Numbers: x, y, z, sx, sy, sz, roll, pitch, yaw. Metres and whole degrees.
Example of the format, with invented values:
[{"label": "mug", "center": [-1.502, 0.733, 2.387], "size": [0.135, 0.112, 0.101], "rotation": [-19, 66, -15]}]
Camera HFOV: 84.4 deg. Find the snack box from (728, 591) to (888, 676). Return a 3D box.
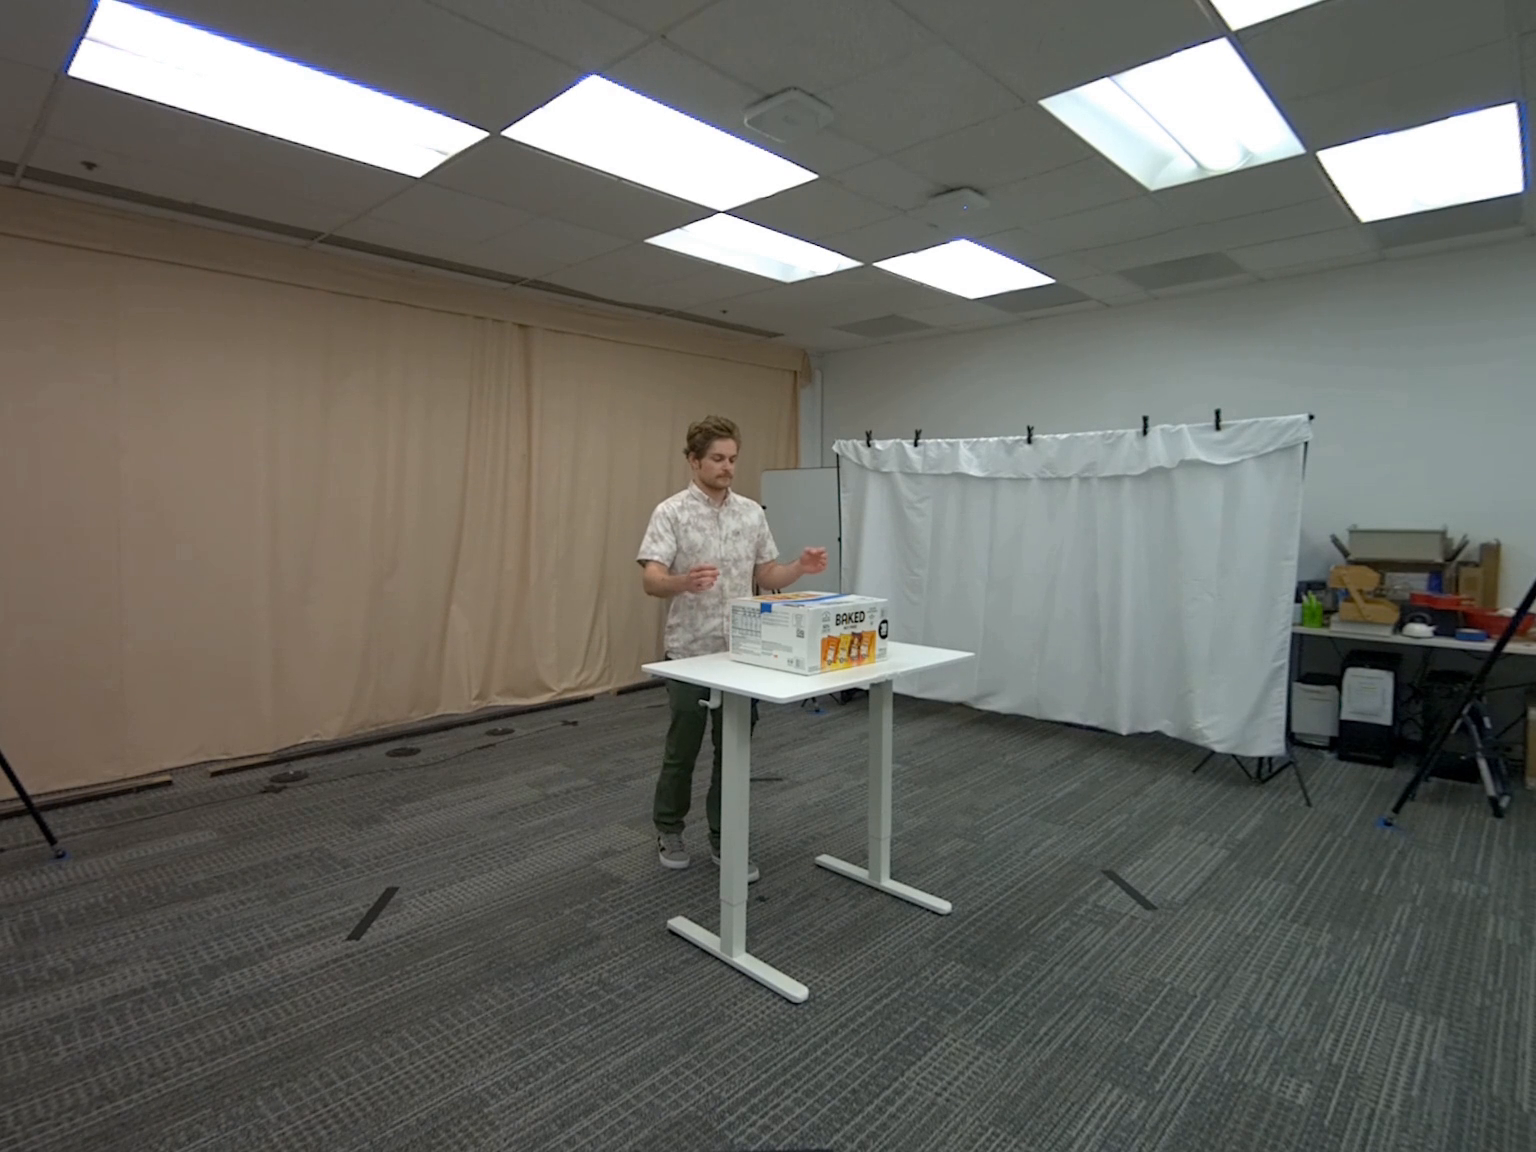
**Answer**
[{"label": "snack box", "center": [0.143, 0.176, 2.750], "size": [0.392, 0.205, 0.352], "rotation": [-4, 5, -45]}]
